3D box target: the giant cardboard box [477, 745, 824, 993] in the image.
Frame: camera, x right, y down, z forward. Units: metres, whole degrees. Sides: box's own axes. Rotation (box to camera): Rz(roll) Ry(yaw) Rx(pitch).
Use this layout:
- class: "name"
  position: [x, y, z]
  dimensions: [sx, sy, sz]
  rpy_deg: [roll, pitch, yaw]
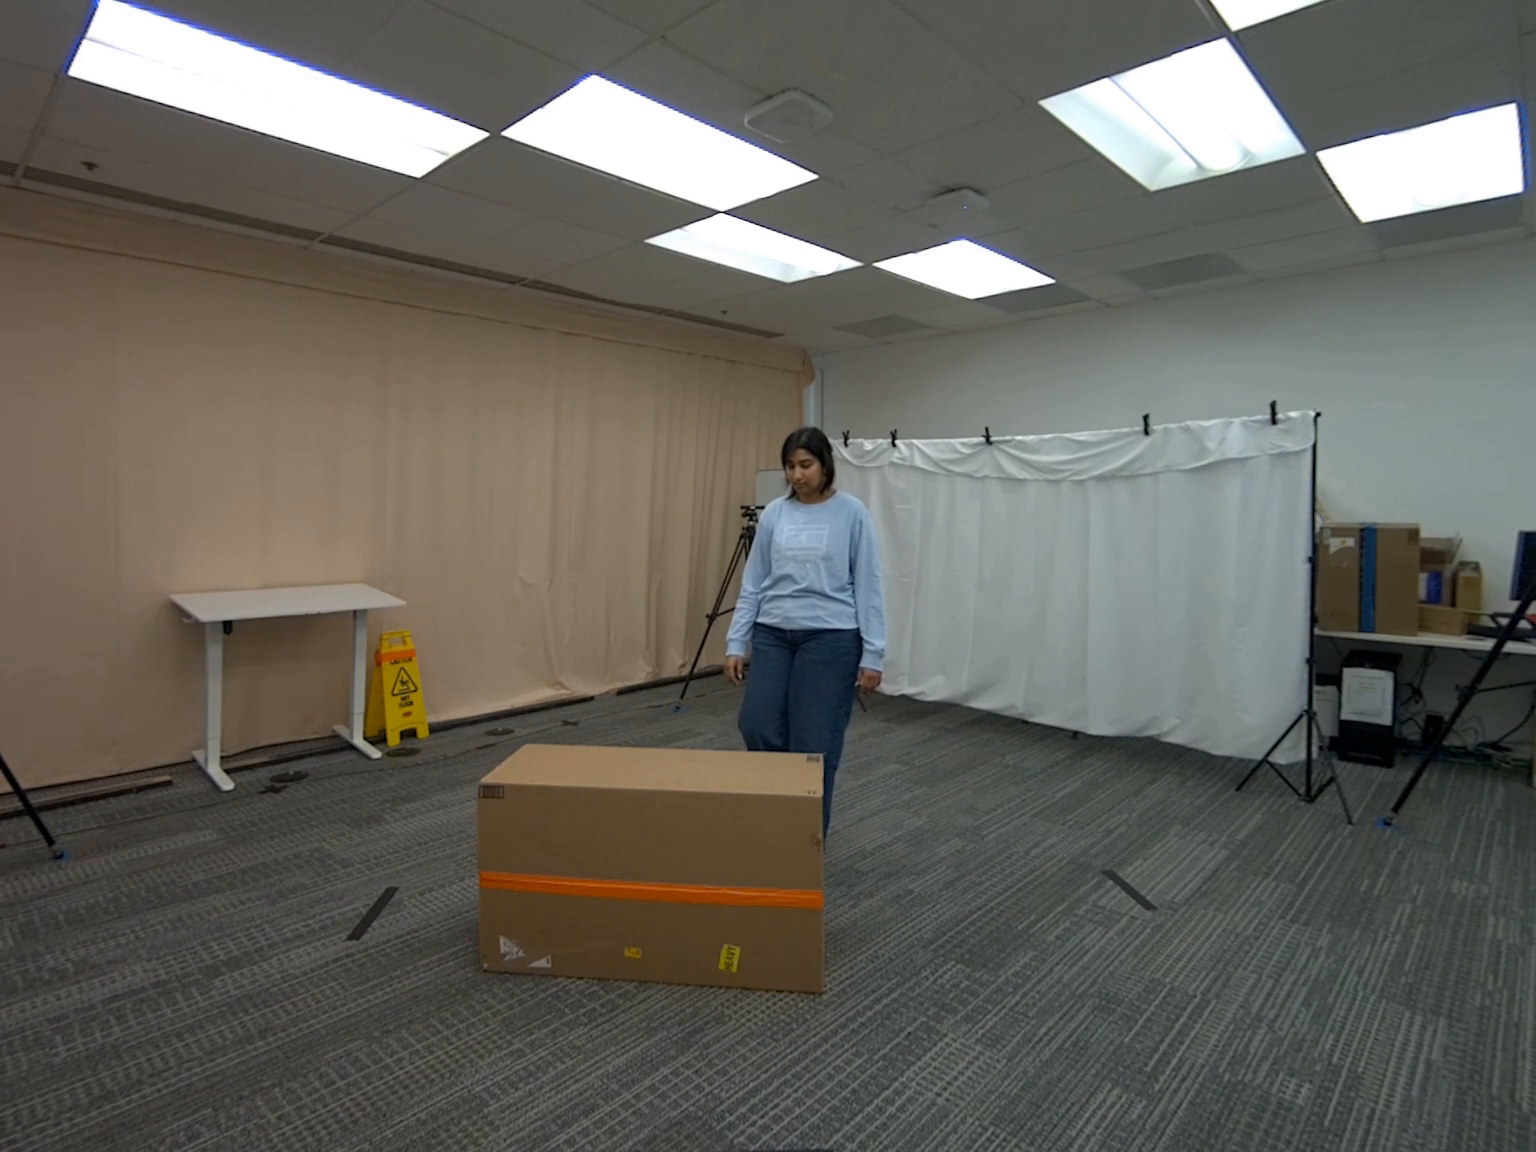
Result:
- class: "giant cardboard box"
  position: [-0.345, 0.882, 2.649]
  dimensions: [1.034, 0.576, 0.424]
  rpy_deg: [1, 4, 7]
